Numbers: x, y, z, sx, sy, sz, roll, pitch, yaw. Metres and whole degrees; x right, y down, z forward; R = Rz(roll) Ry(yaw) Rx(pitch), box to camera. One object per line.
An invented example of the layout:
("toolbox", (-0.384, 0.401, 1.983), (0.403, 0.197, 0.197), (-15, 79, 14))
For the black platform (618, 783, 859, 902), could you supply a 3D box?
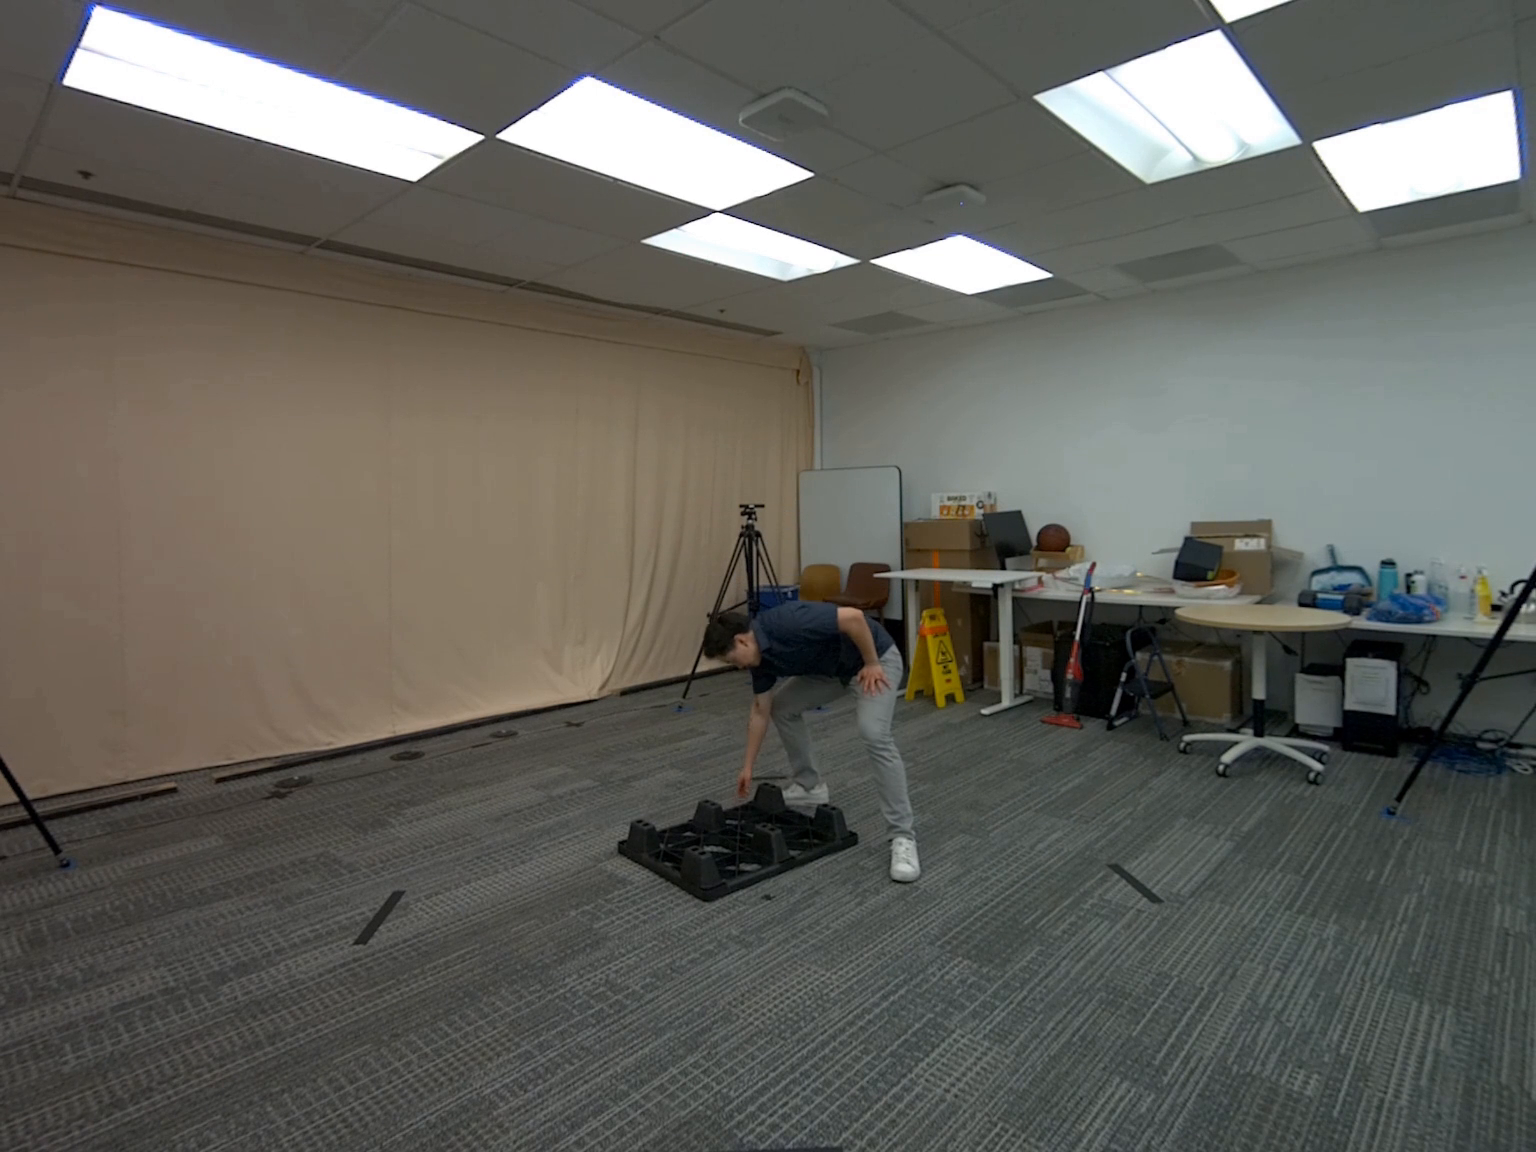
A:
("black platform", (-0.120, 1.037, 3.426), (0.781, 0.143, 0.625), (-5, 6, -40))
